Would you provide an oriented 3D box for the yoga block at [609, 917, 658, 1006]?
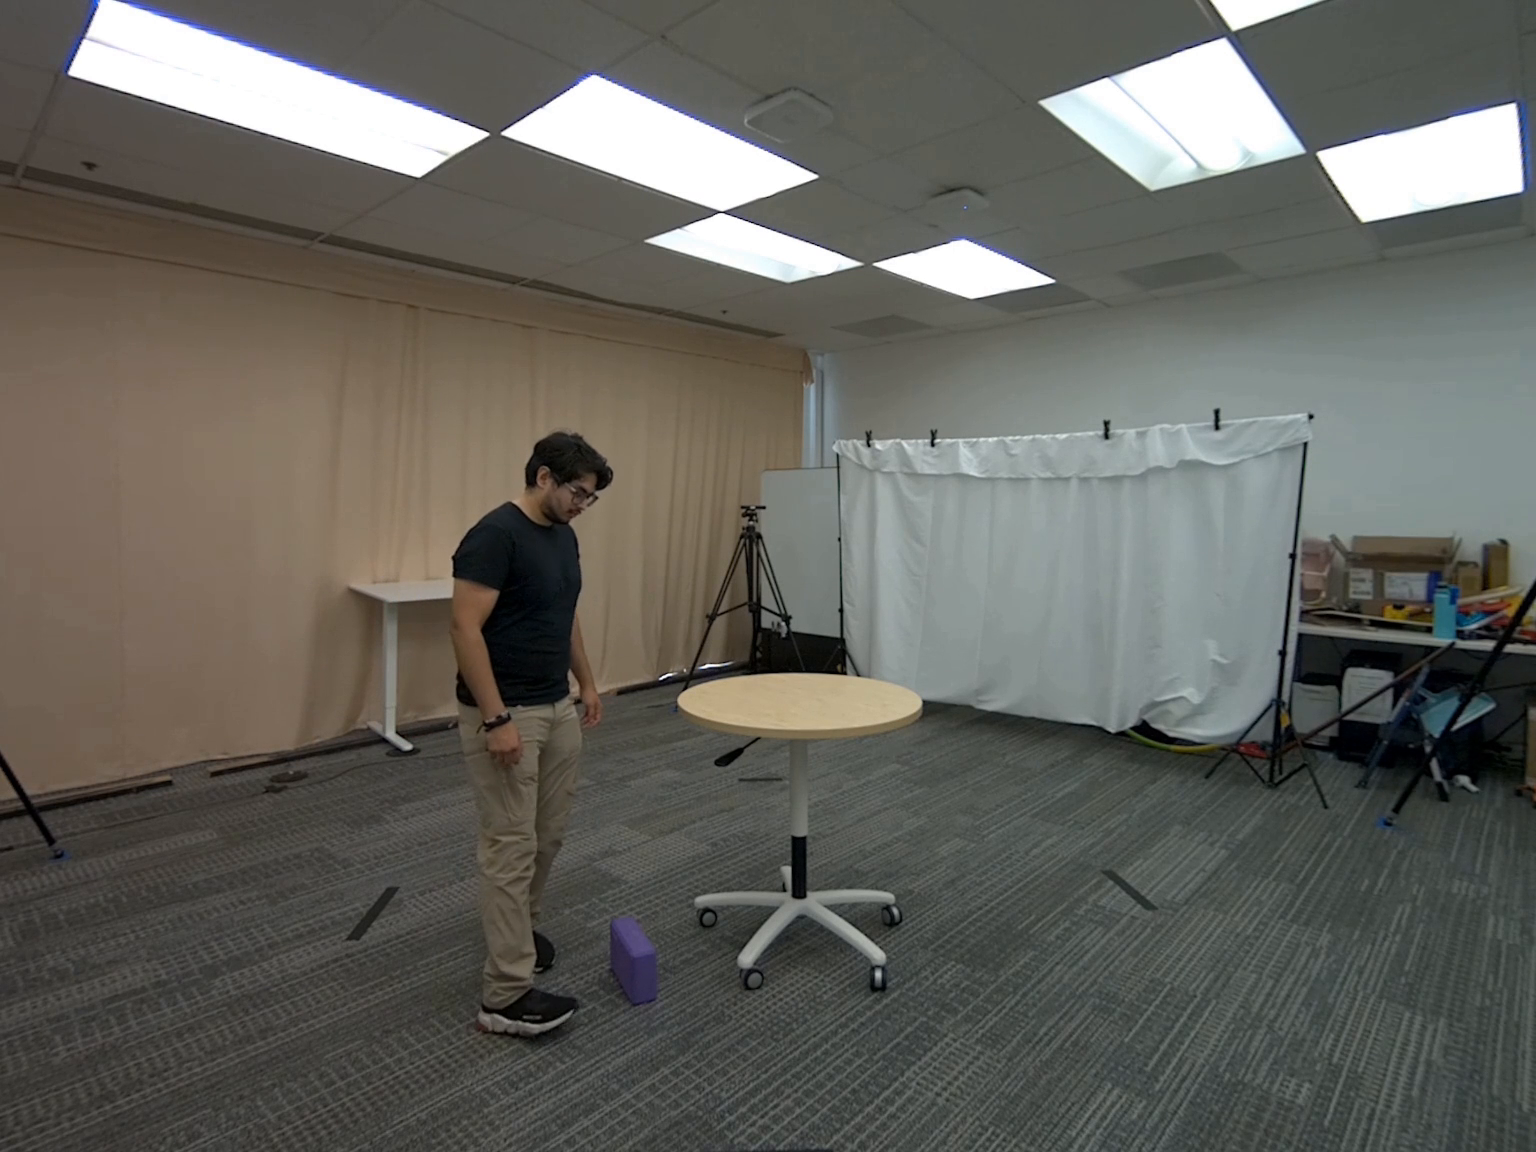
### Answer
[{"bbox_3d":[-0.394,1.116,2.450,0.074,0.148,0.235,0,4,-25],"label":"yoga block"}]
